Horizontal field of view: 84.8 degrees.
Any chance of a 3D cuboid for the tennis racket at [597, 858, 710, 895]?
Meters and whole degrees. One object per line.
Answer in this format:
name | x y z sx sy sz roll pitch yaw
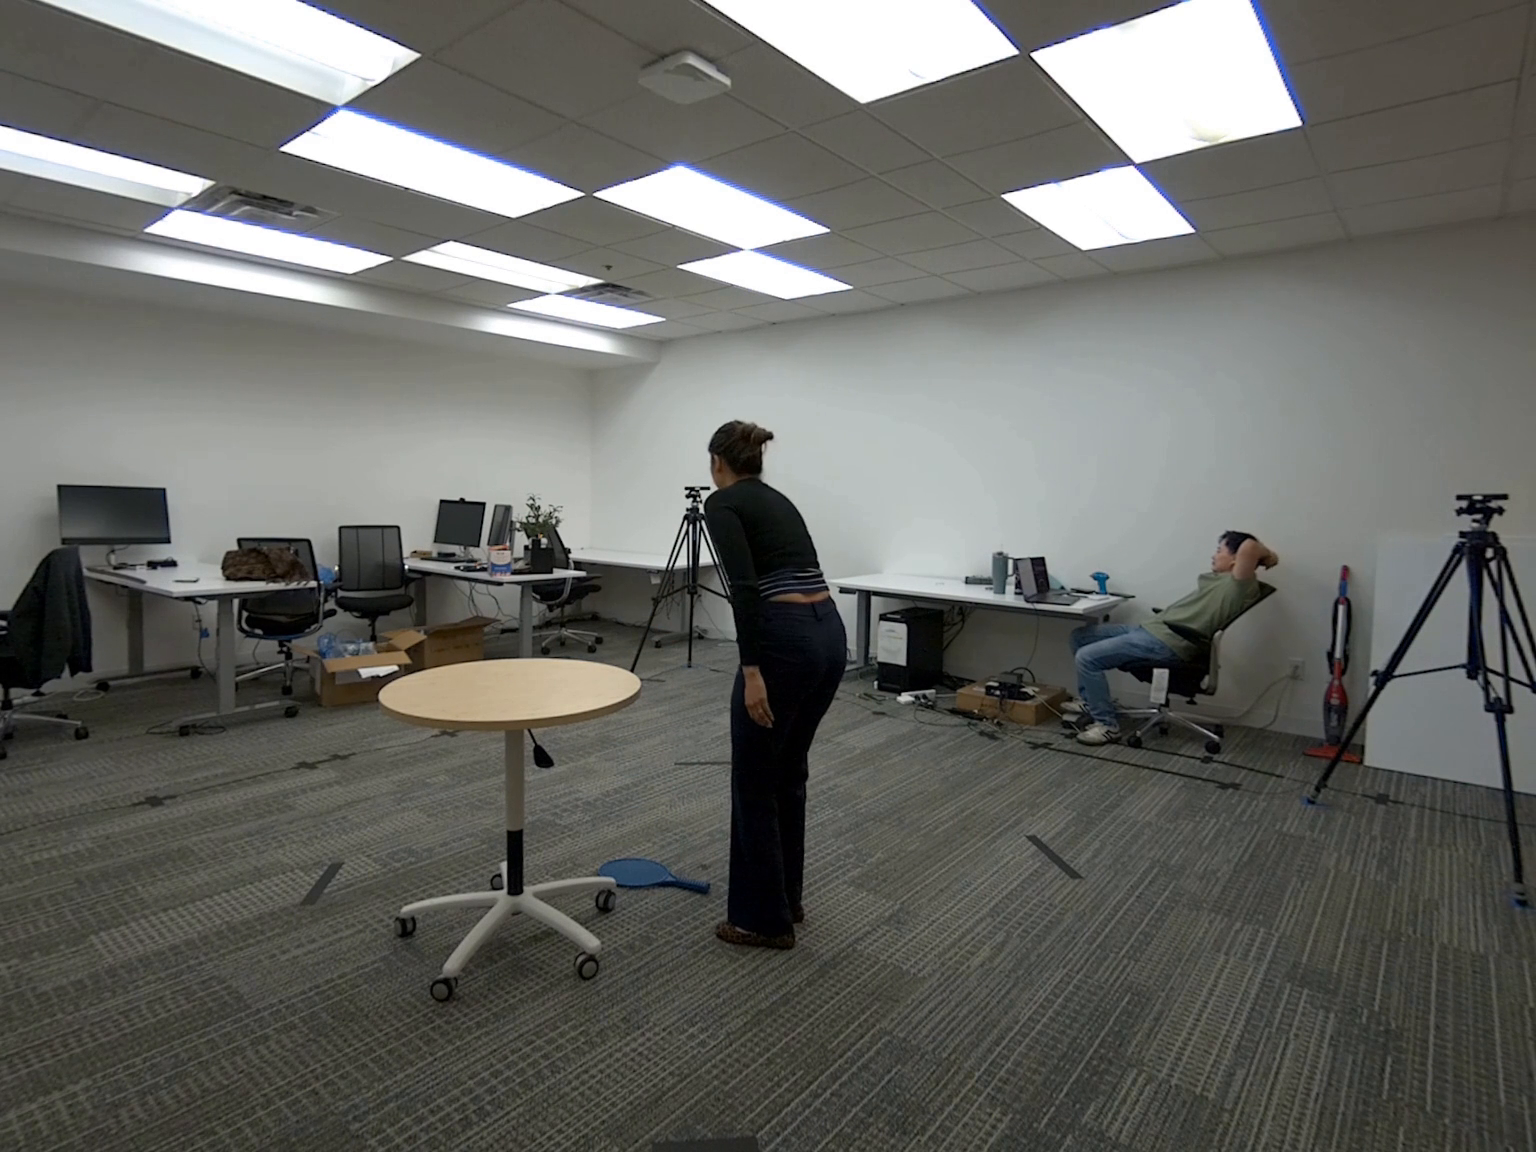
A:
tennis racket | -0.417 1.057 3.007 0.443 0.031 0.209 2 6 23
